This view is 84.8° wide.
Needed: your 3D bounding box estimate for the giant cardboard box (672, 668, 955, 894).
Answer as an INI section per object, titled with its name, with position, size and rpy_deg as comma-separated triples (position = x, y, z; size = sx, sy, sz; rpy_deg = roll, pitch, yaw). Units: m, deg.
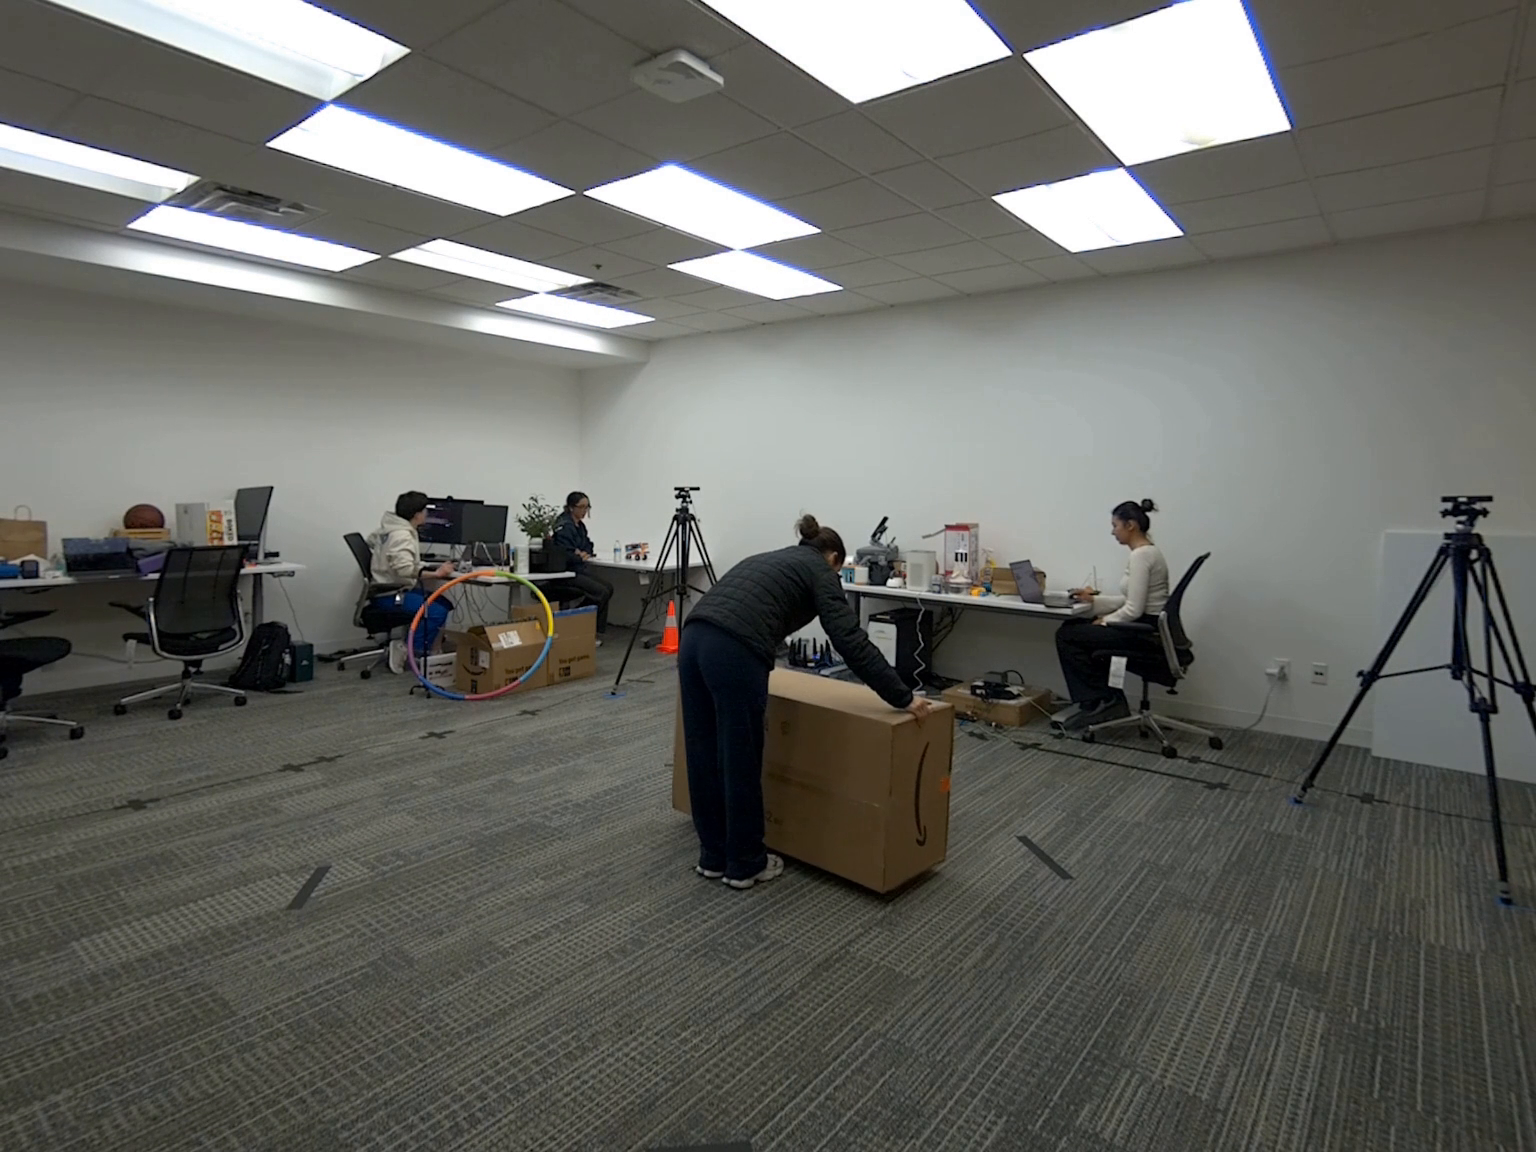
[giant cardboard box]
position = 0.158, 0.713, 3.314
size = 1.063, 0.582, 0.433
rpy_deg = 7, 5, 42
